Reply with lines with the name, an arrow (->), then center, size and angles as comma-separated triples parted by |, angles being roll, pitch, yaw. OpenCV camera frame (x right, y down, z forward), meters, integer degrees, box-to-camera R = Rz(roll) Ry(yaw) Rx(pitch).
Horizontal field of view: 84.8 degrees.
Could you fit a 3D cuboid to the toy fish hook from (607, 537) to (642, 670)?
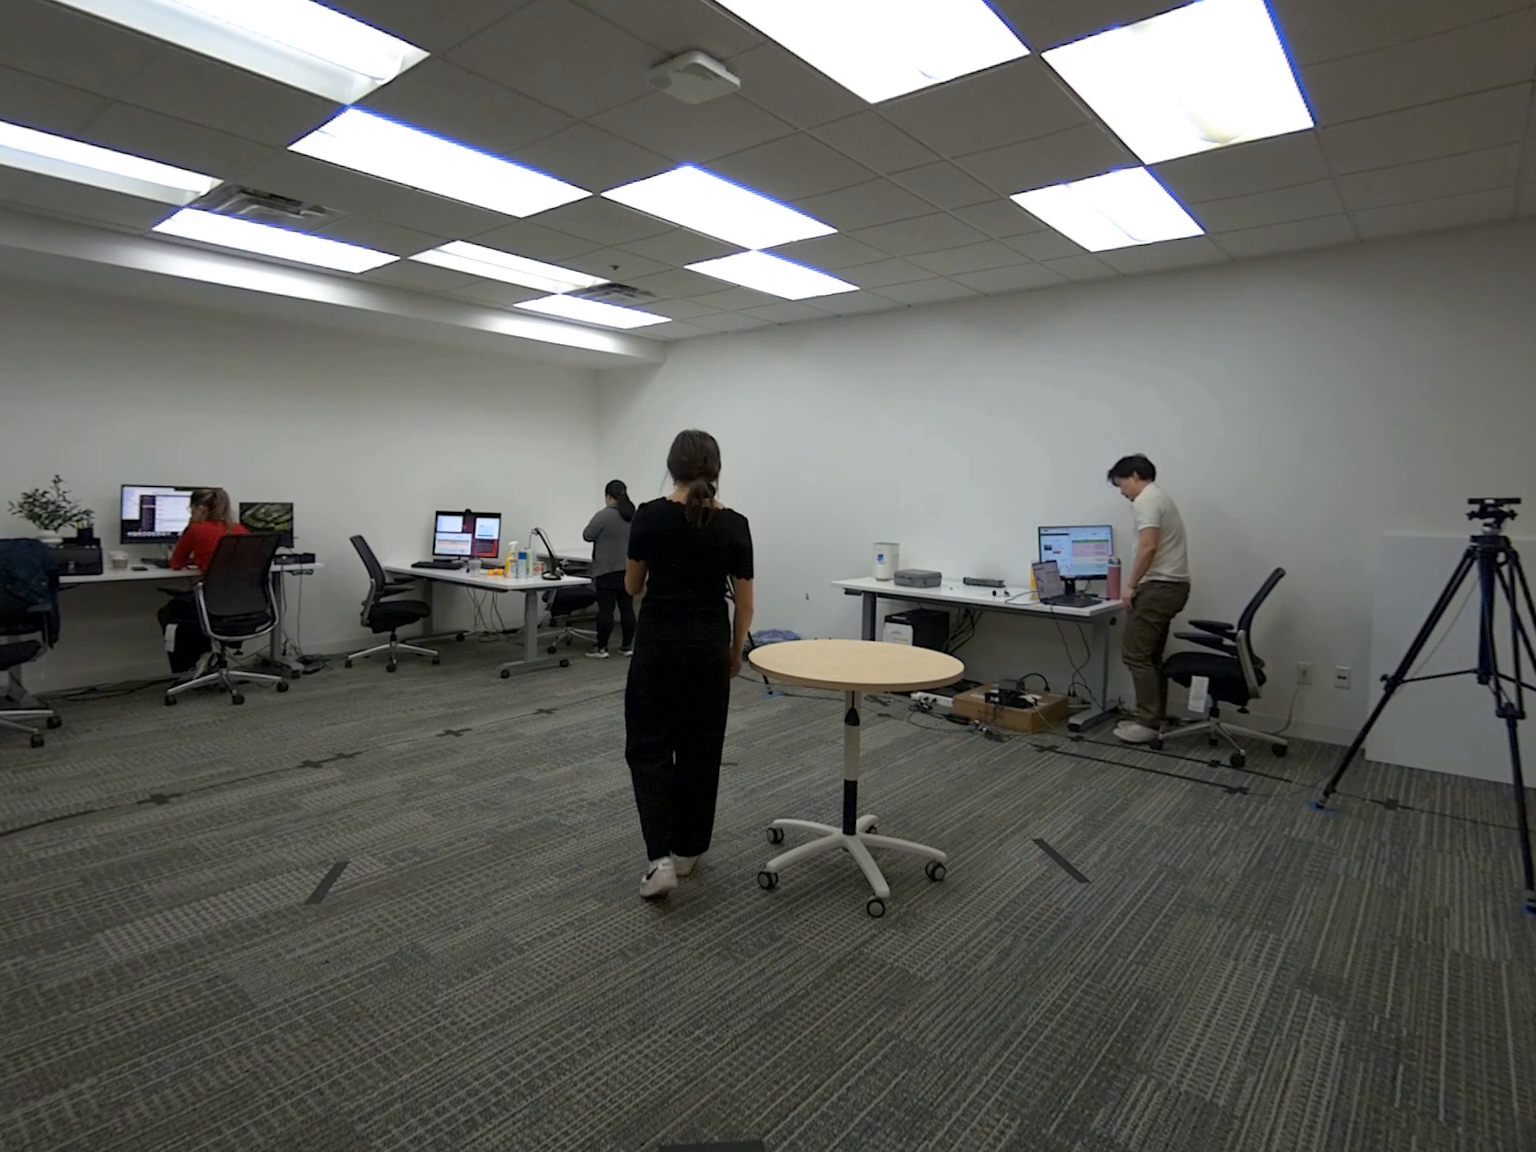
toy fish hook -> -0.507, 0.104, 3.327 | 0.050, 0.505, 0.217 | 11, 4, 34
